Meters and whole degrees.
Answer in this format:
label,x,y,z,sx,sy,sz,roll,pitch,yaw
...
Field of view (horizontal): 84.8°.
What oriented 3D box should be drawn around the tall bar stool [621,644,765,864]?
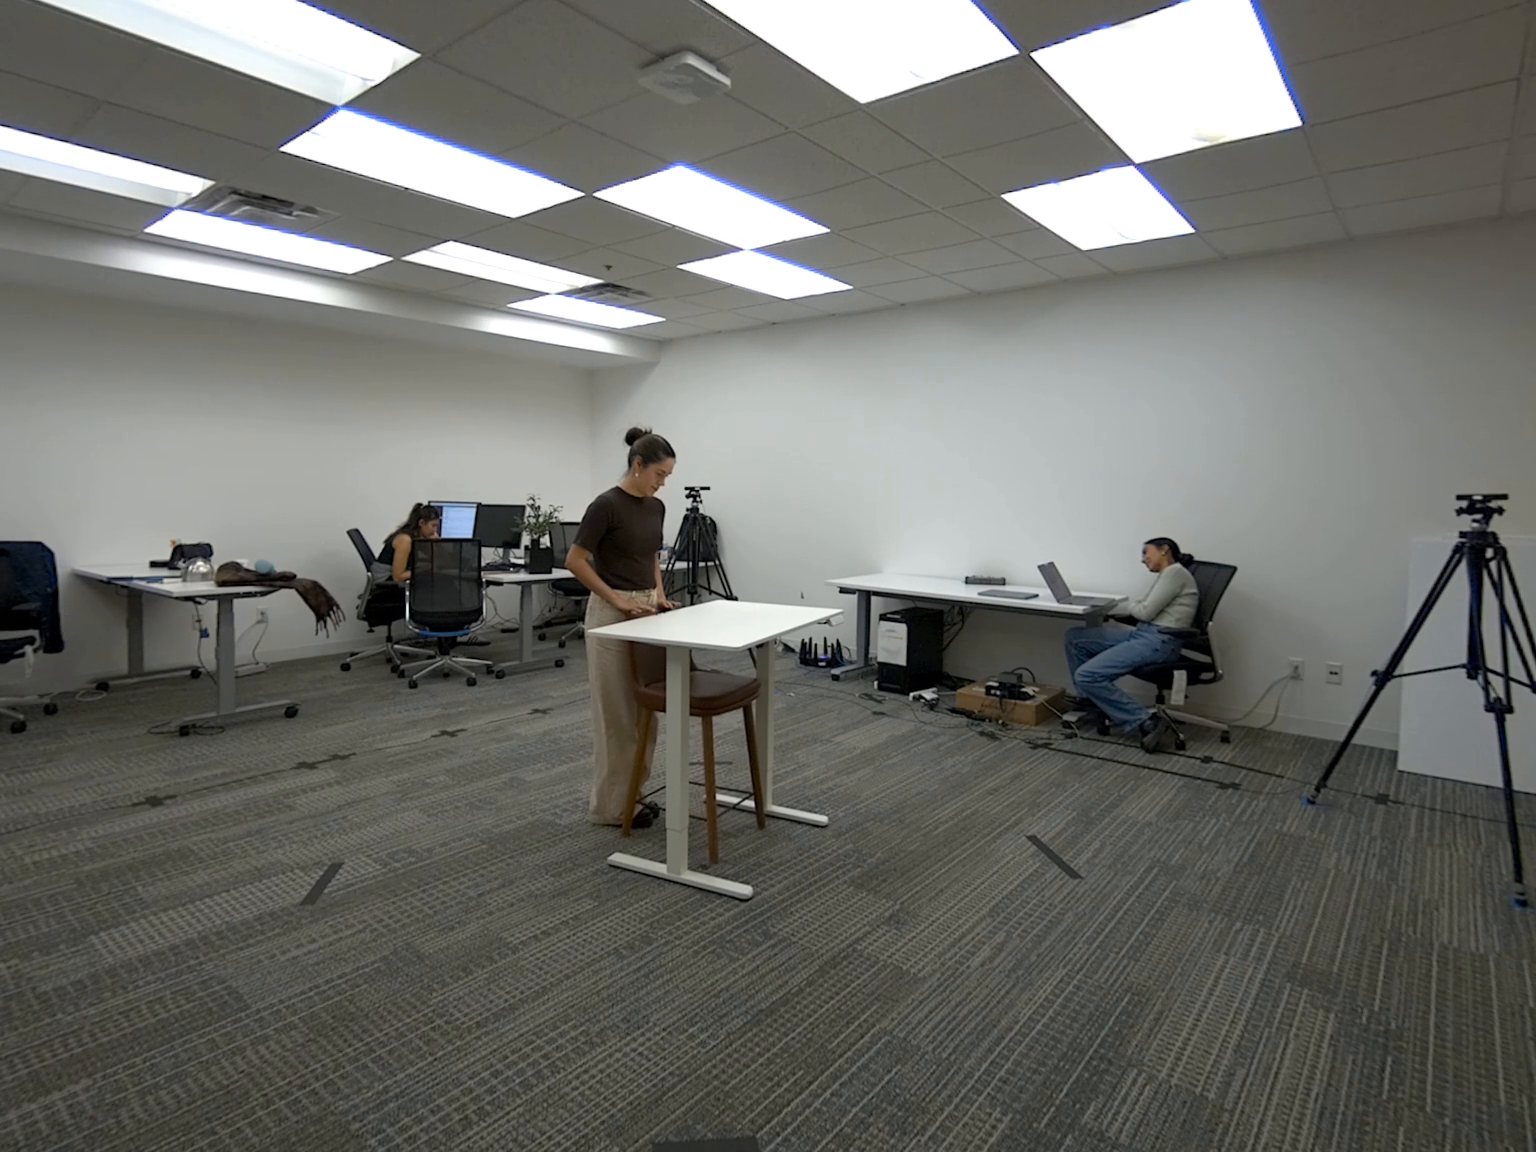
label,x,y,z,sx,sy,sz,roll,pitch,yaw
tall bar stool,-0.311,0.599,3.412,0.481,0.888,0.445,0,3,30
